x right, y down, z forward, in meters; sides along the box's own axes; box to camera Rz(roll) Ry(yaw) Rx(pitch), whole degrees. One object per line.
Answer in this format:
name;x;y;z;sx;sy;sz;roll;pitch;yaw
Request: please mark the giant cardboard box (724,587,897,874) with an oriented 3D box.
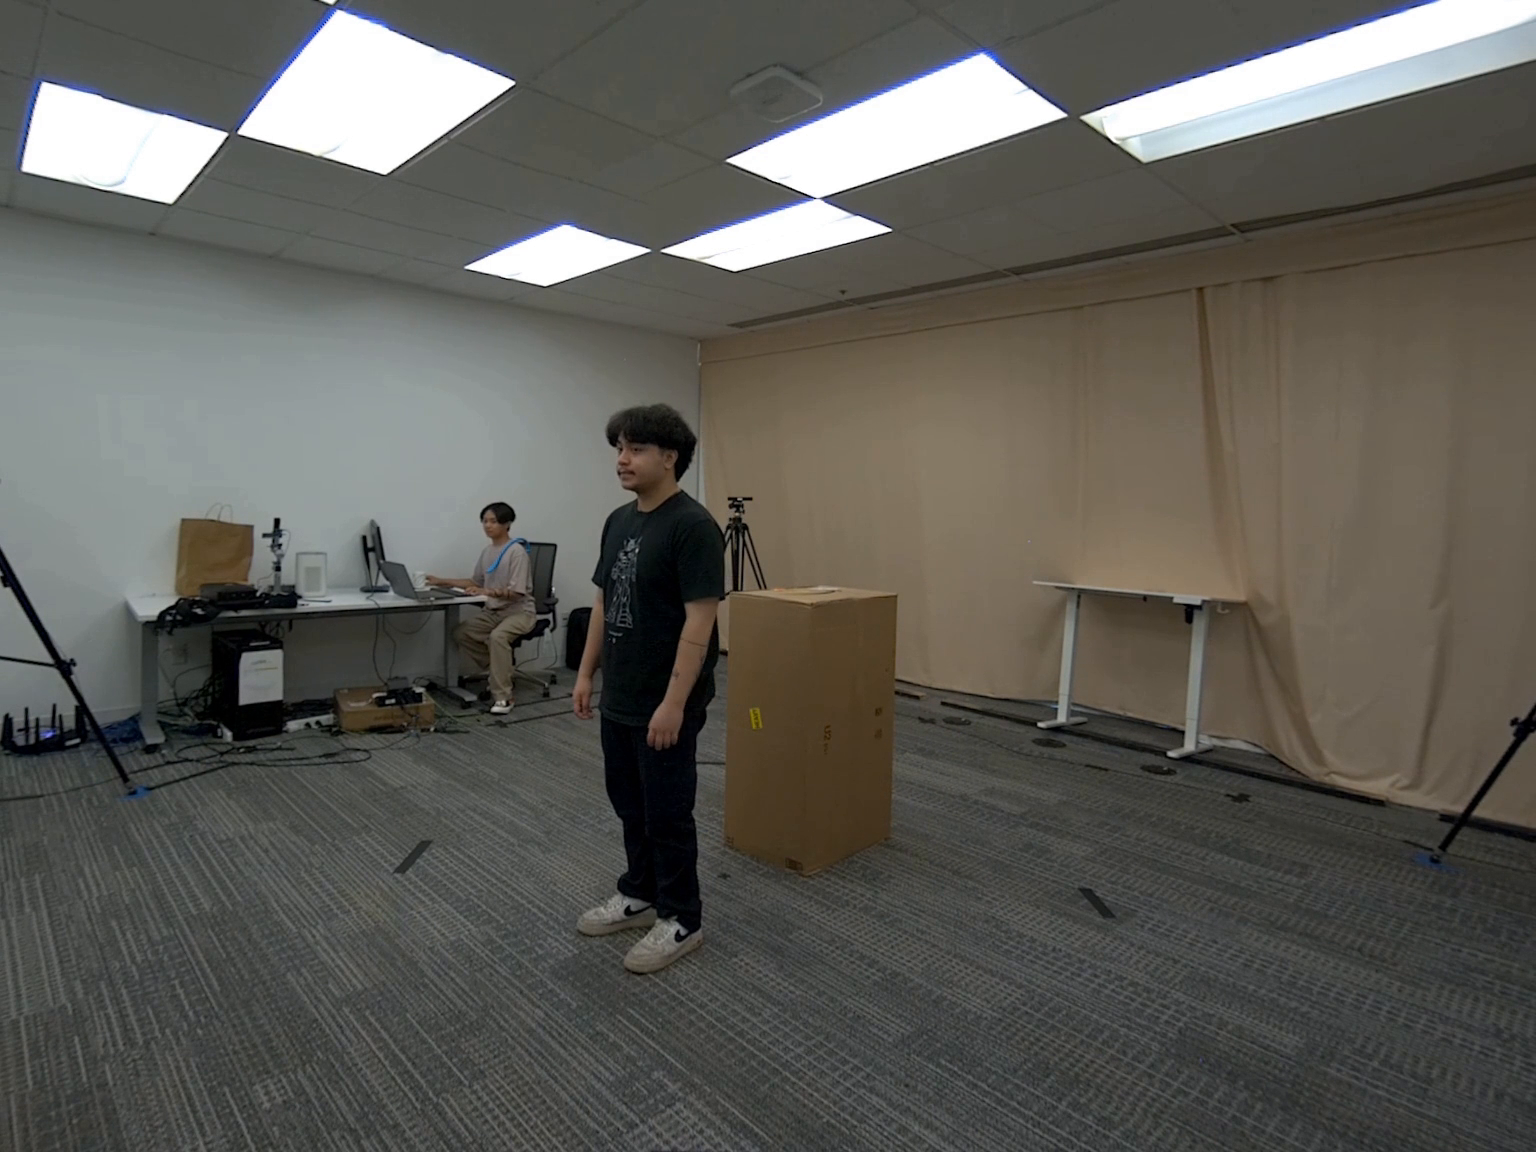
giant cardboard box;0.173;0.576;3.436;0.458;1.025;0.570;3;3;44
